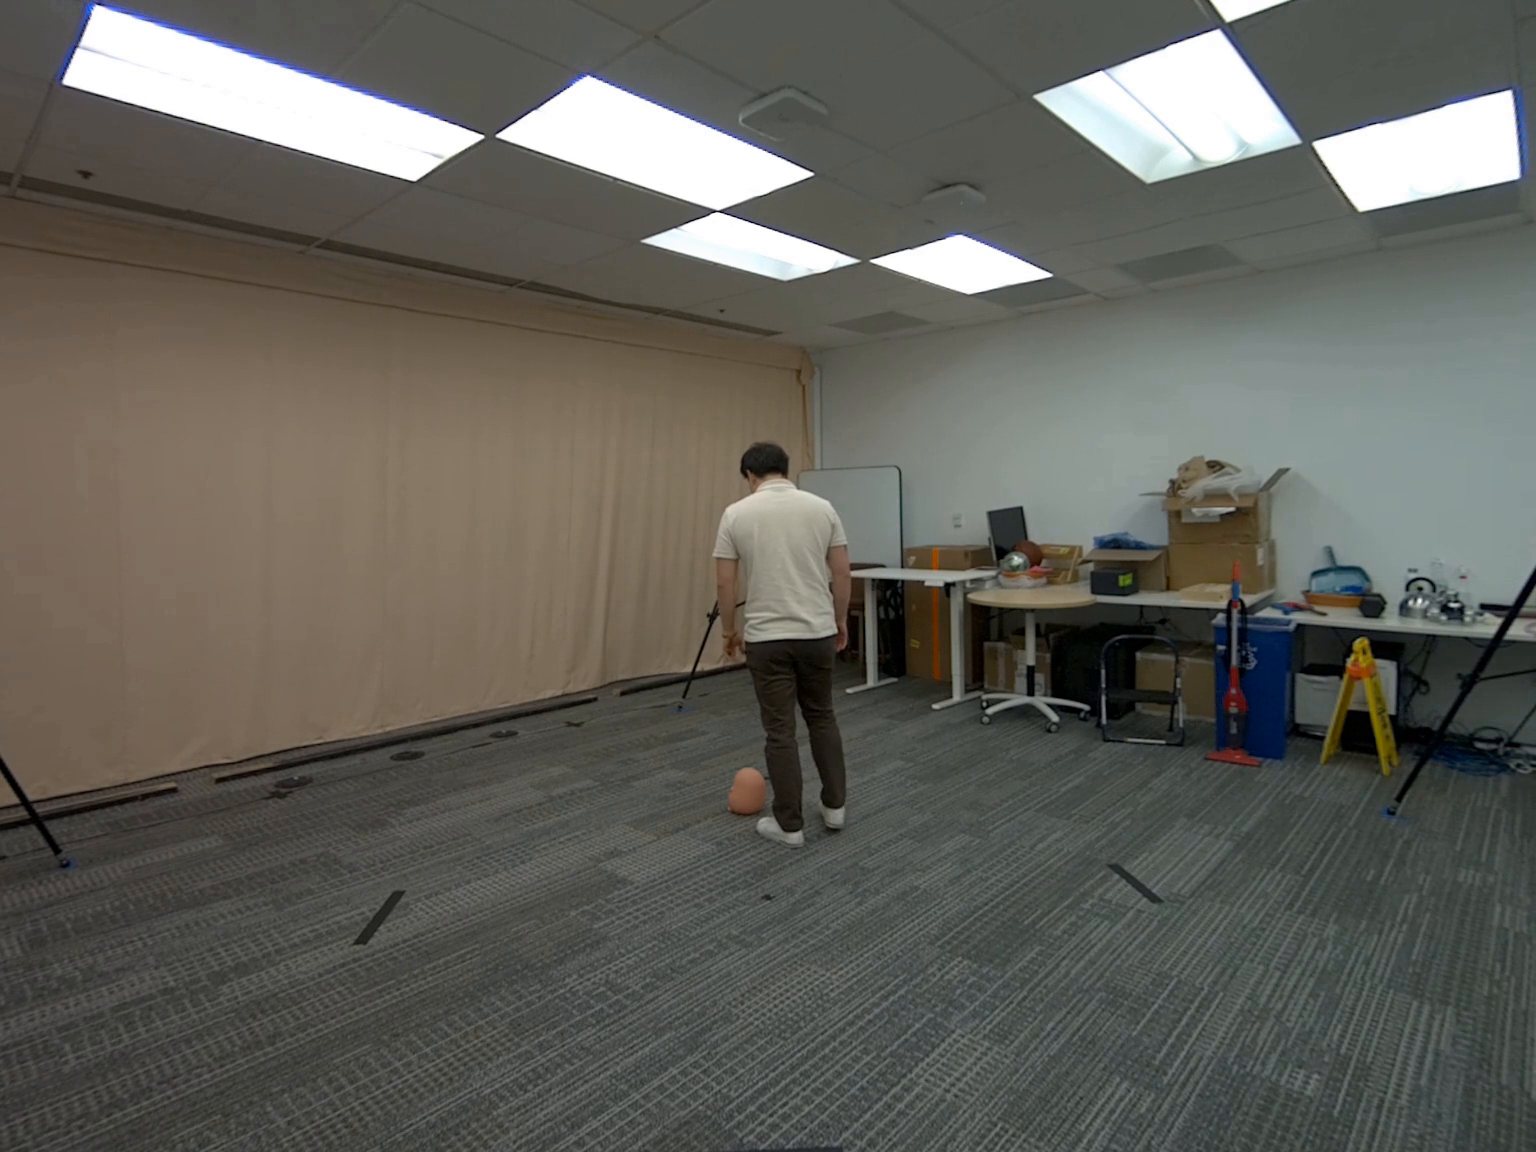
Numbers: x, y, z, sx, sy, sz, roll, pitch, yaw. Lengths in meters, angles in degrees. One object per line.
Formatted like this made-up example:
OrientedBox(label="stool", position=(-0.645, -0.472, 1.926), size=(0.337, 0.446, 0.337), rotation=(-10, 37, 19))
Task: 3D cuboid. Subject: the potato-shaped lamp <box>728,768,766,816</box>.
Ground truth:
OrientedBox(label="potato-shaped lamp", position=(-0.096, 0.972, 3.830), size=(0.176, 0.198, 0.160), rotation=(-2, 2, 32))
